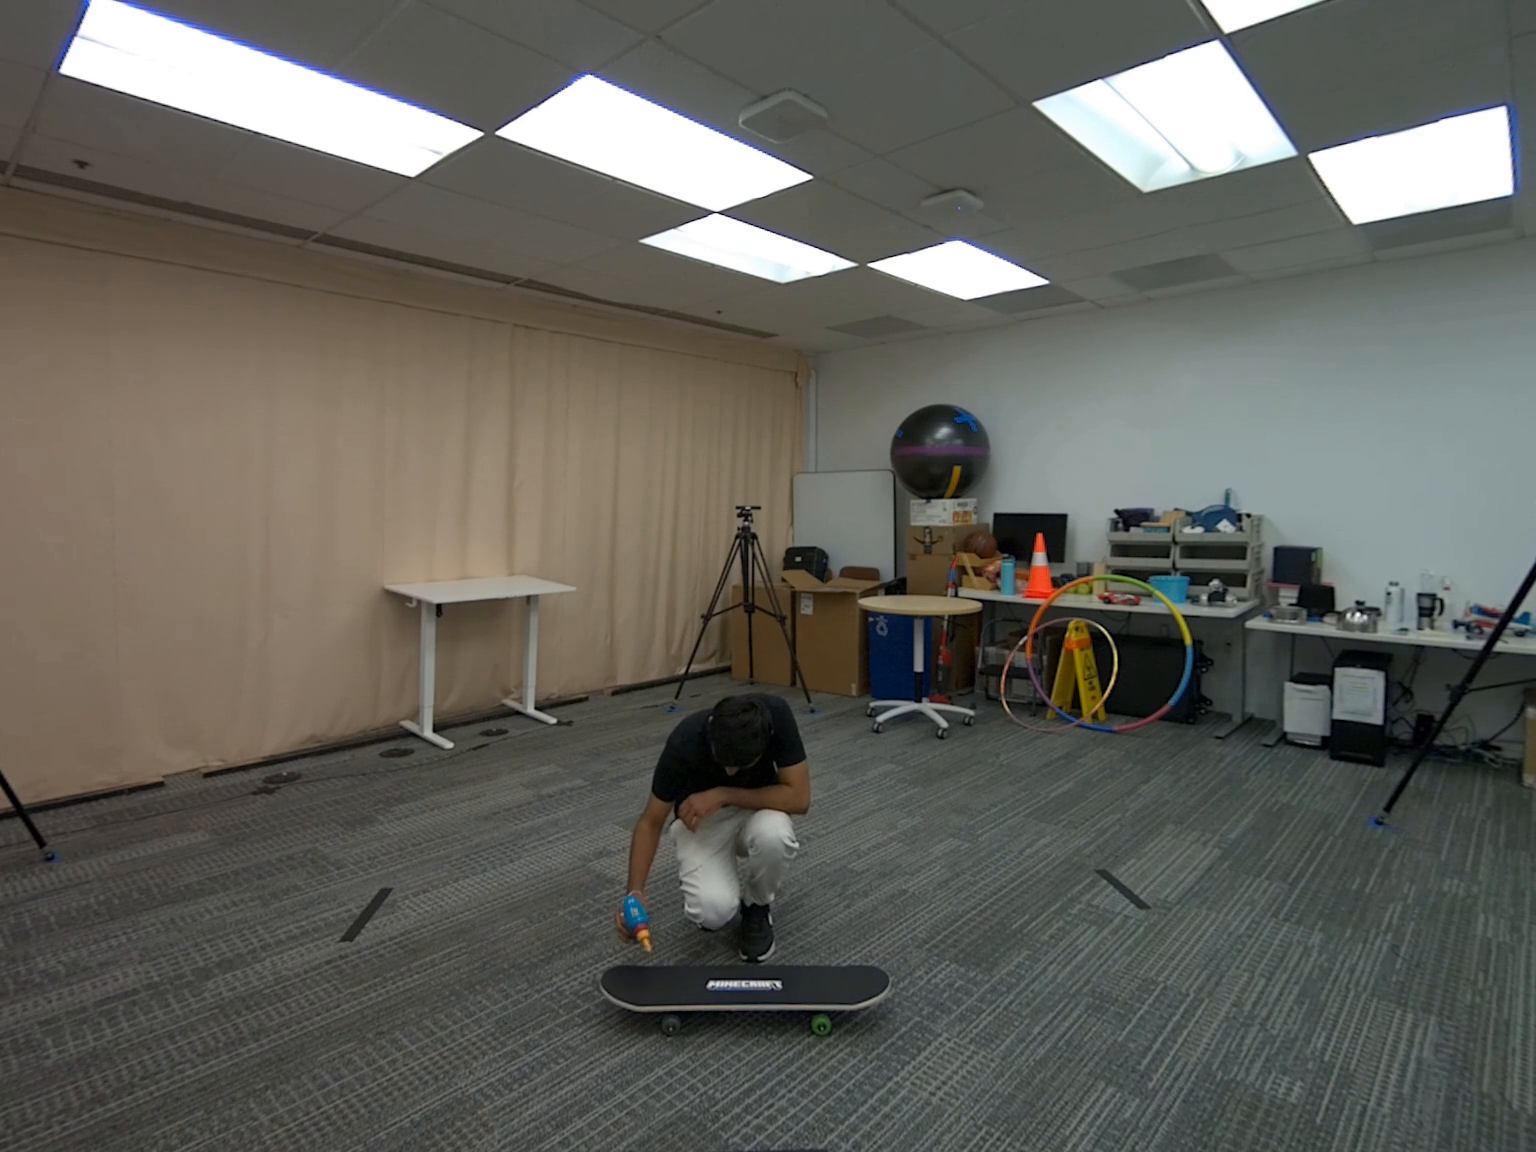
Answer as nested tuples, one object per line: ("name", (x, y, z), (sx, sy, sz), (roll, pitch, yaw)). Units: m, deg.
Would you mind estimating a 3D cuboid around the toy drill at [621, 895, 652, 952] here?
("toy drill", (-0.344, 0.974, 2.331), (0.061, 0.142, 0.175), (-24, 40, -5))
